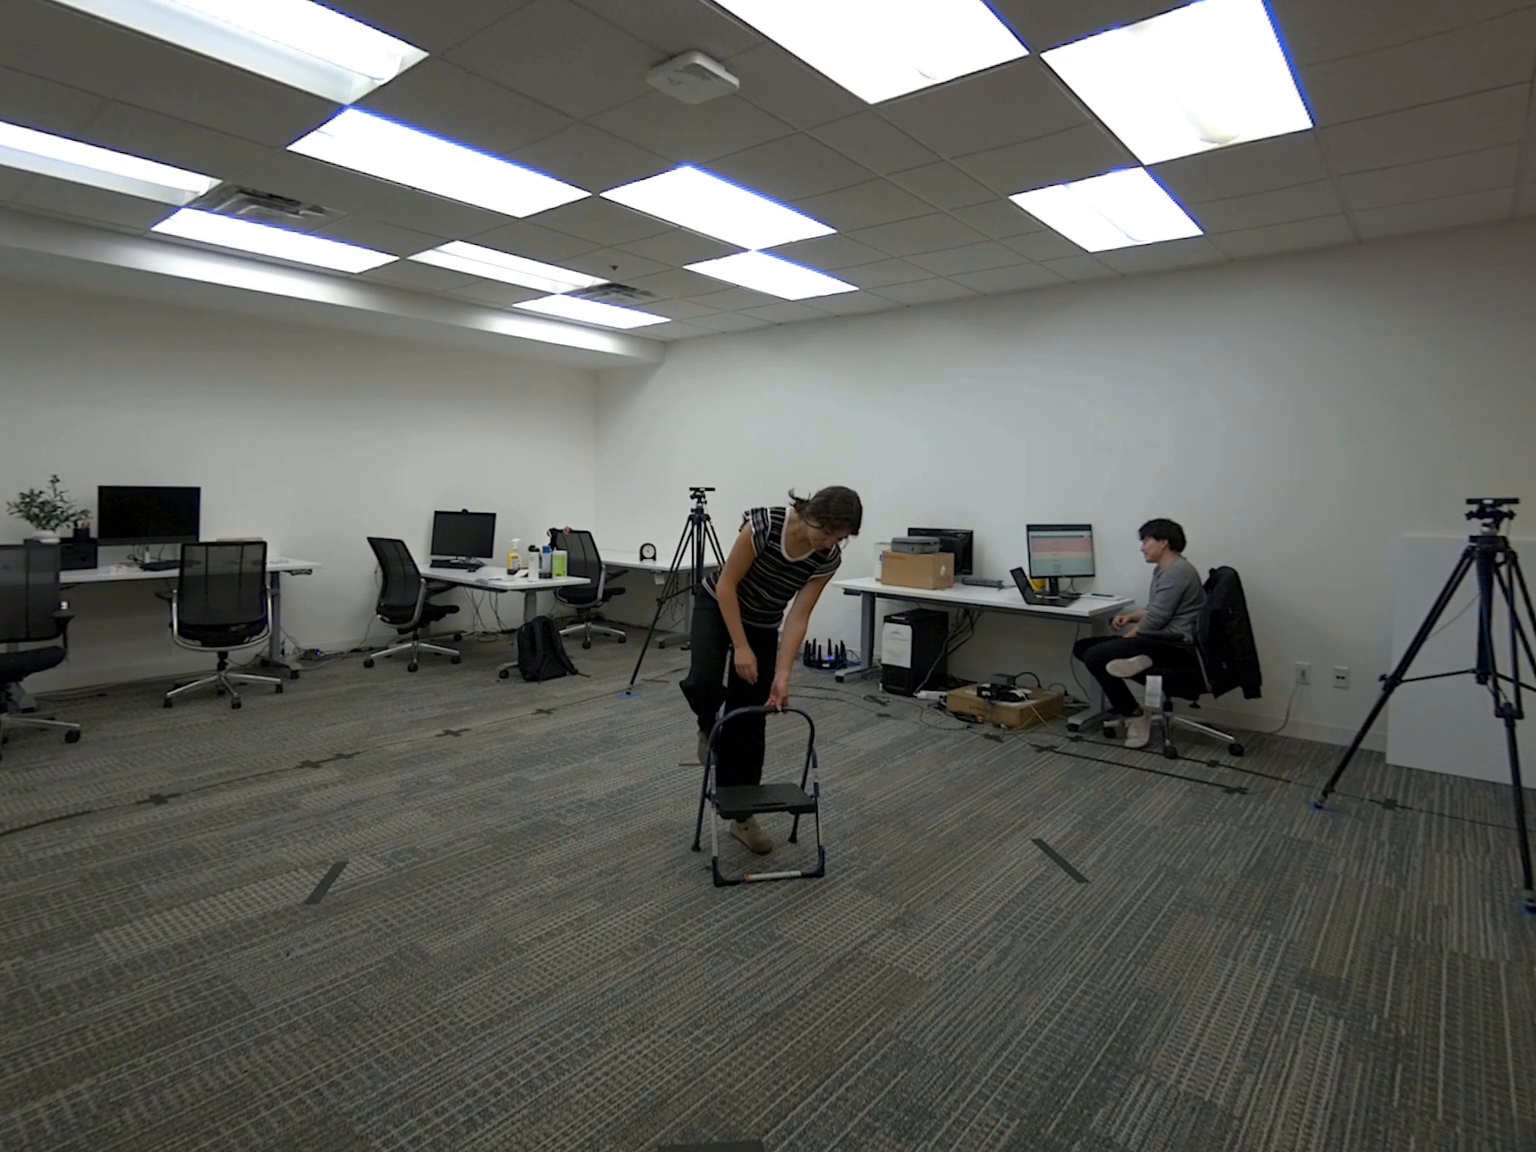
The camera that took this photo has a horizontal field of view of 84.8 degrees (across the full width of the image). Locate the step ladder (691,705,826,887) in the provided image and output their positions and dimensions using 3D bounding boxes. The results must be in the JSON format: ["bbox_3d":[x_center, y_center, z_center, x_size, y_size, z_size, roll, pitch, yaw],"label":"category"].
[{"bbox_3d":[-0.042,0.763,3.164,0.424,0.604,0.356,0,3,-16],"label":"step ladder"}]
